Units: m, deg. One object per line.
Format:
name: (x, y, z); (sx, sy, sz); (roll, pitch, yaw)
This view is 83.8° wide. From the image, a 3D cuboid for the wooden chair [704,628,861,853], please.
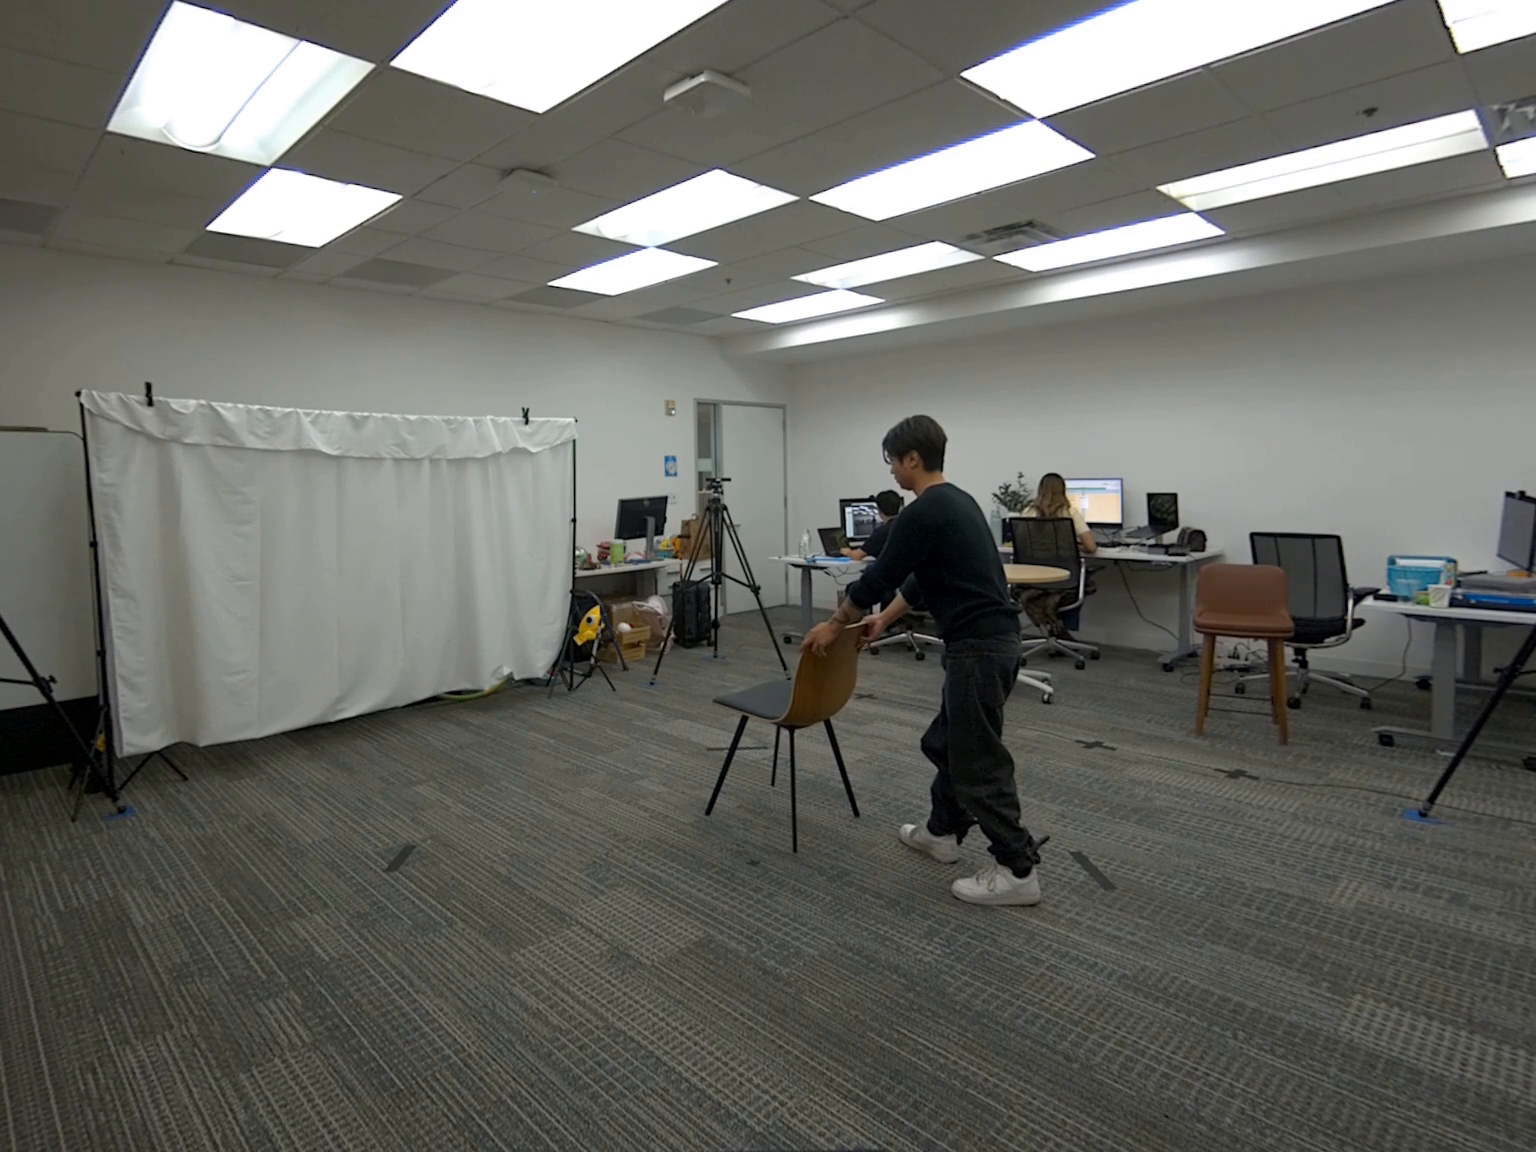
wooden chair: (0.075, 0.557, 3.442); (0.541, 0.870, 0.466); (14, 13, 38)
